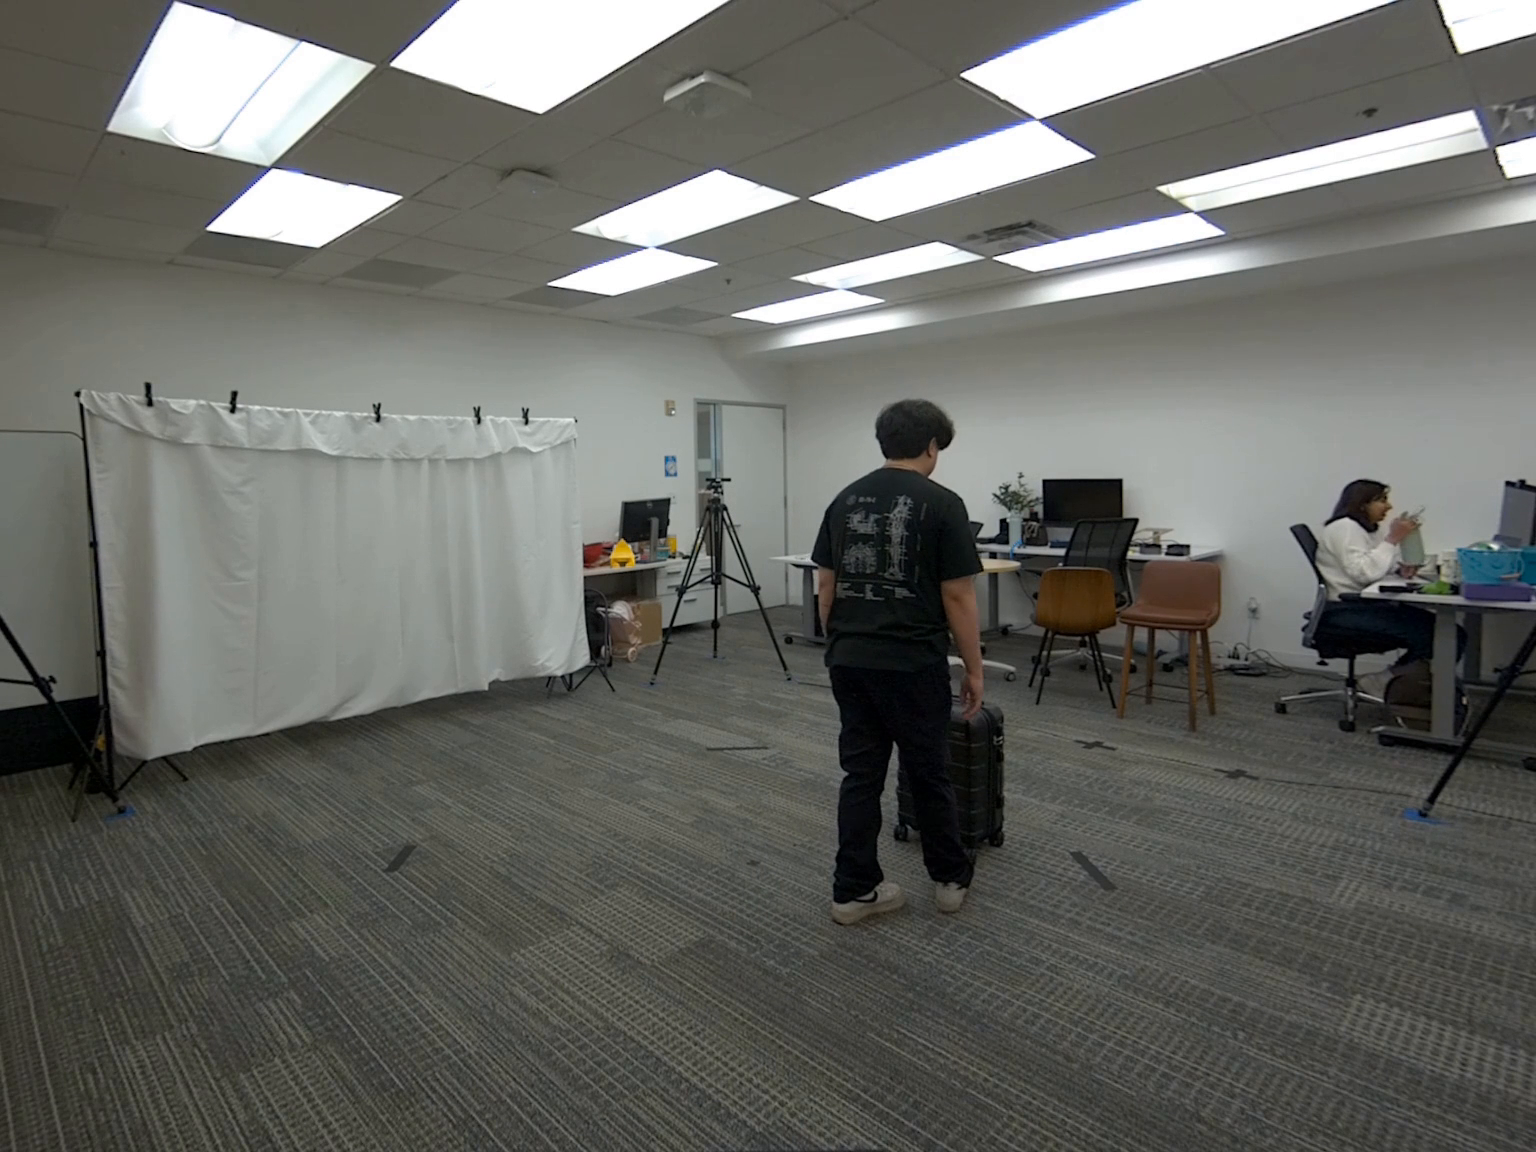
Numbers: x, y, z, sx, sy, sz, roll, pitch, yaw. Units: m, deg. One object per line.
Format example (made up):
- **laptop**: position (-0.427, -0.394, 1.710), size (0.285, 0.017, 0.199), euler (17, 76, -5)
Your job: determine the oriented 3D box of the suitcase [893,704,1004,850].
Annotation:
- **suitcase**: position (0.703, 0.739, 3.250), size (0.241, 0.548, 0.387), euler (-2, 3, -45)
